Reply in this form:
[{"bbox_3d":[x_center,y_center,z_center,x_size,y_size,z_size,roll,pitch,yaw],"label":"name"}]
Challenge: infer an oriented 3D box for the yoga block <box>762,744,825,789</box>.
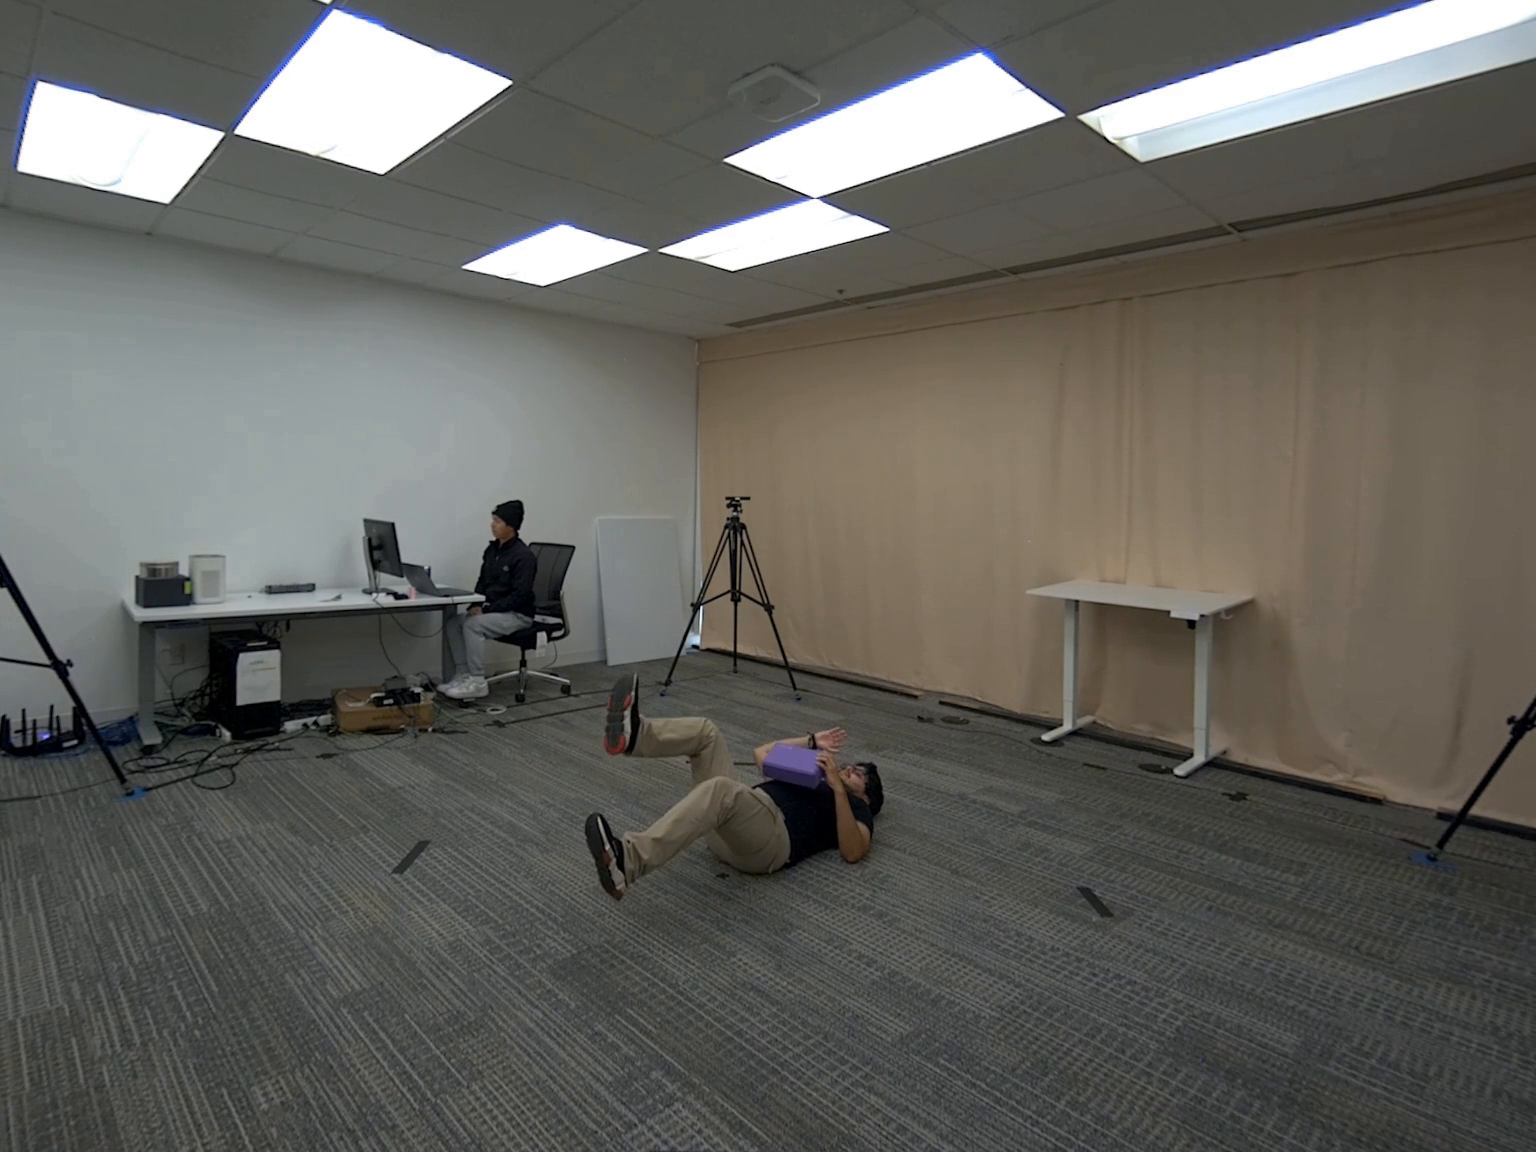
[{"bbox_3d":[0.101,0.756,3.331,0.234,0.075,0.148,5,24,23],"label":"yoga block"}]
